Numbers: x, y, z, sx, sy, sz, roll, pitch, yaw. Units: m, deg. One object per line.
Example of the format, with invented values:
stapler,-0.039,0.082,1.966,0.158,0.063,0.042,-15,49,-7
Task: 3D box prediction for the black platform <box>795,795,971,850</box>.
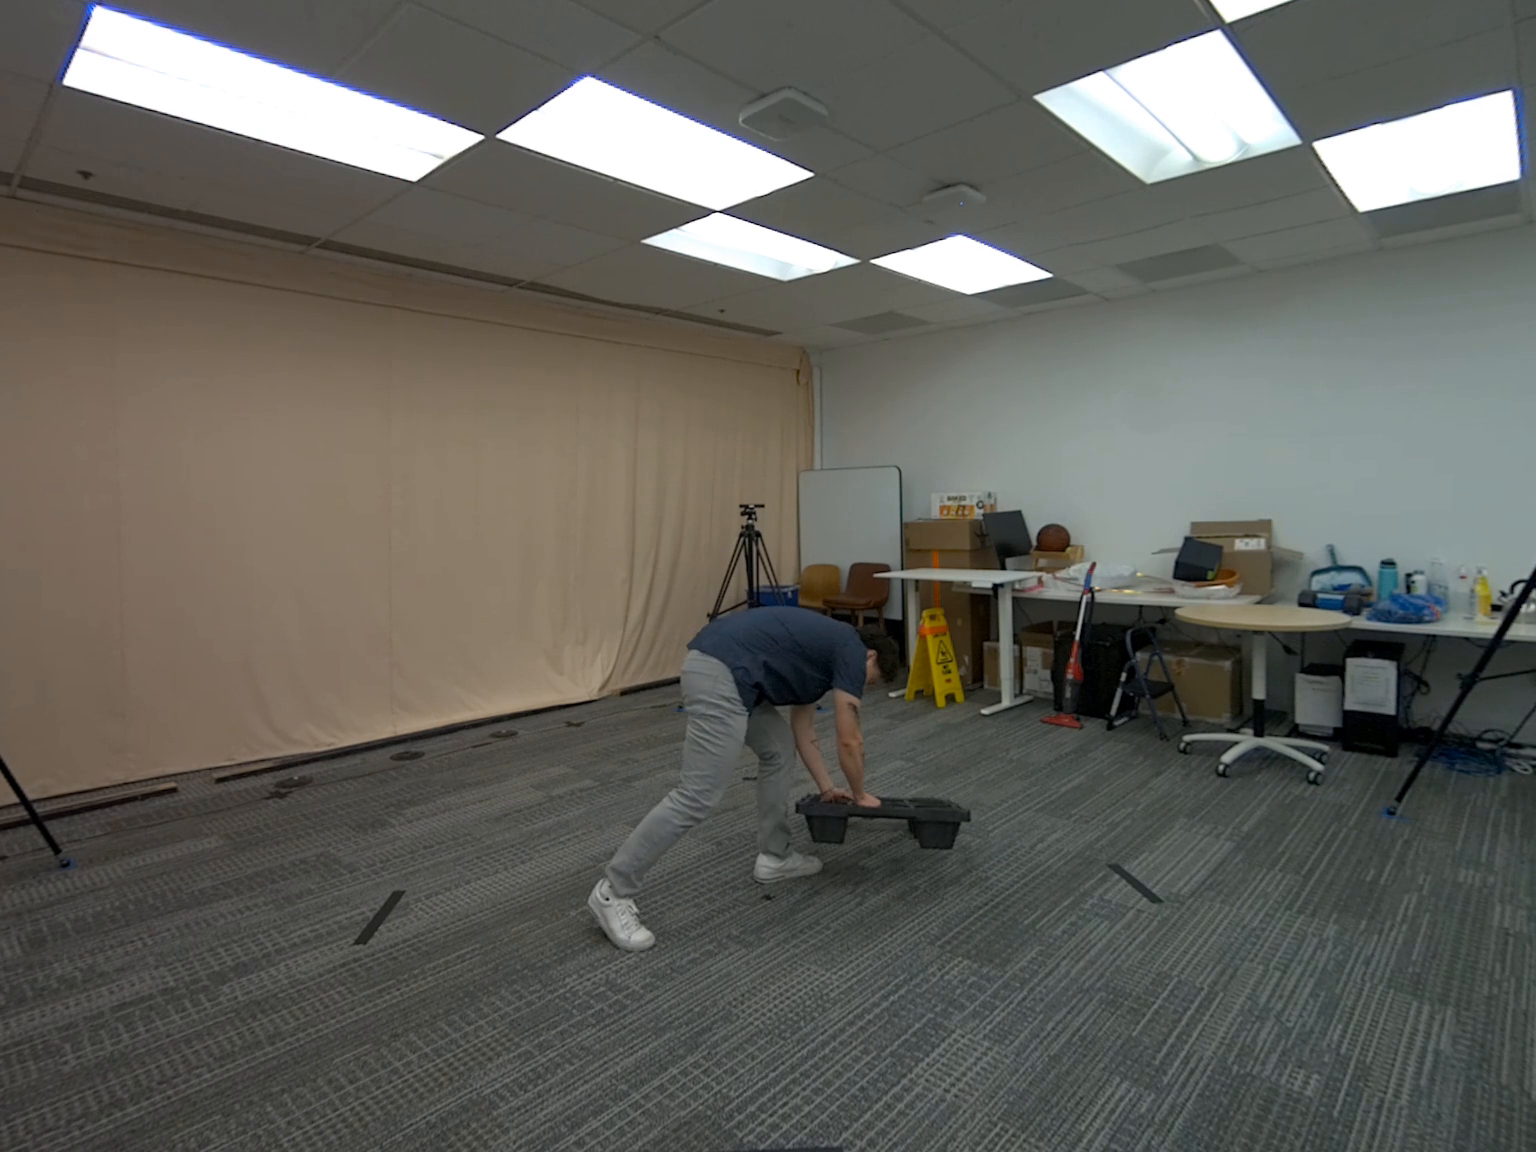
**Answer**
black platform,0.426,0.942,3.264,0.611,0.144,0.792,0,-12,8
